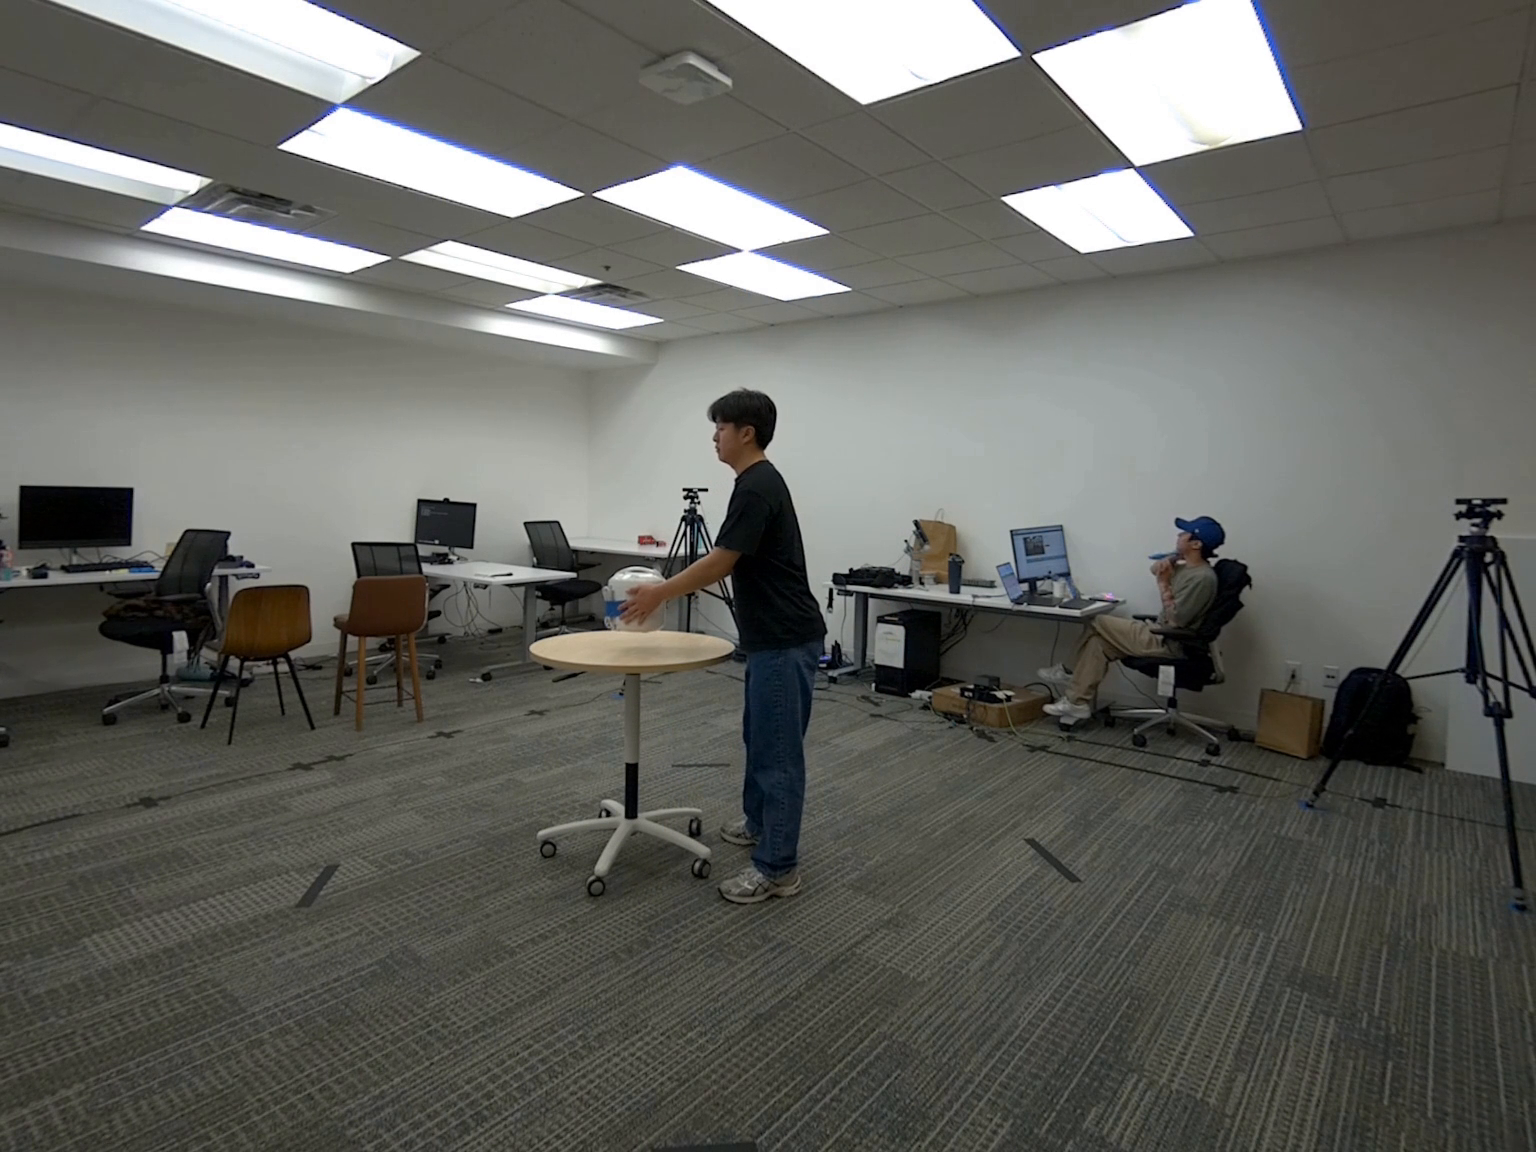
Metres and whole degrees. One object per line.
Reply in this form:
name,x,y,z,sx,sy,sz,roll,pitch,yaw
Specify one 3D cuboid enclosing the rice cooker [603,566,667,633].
rice cooker,-0.493,0.080,3.136,0.222,0.233,0.216,2,1,7
